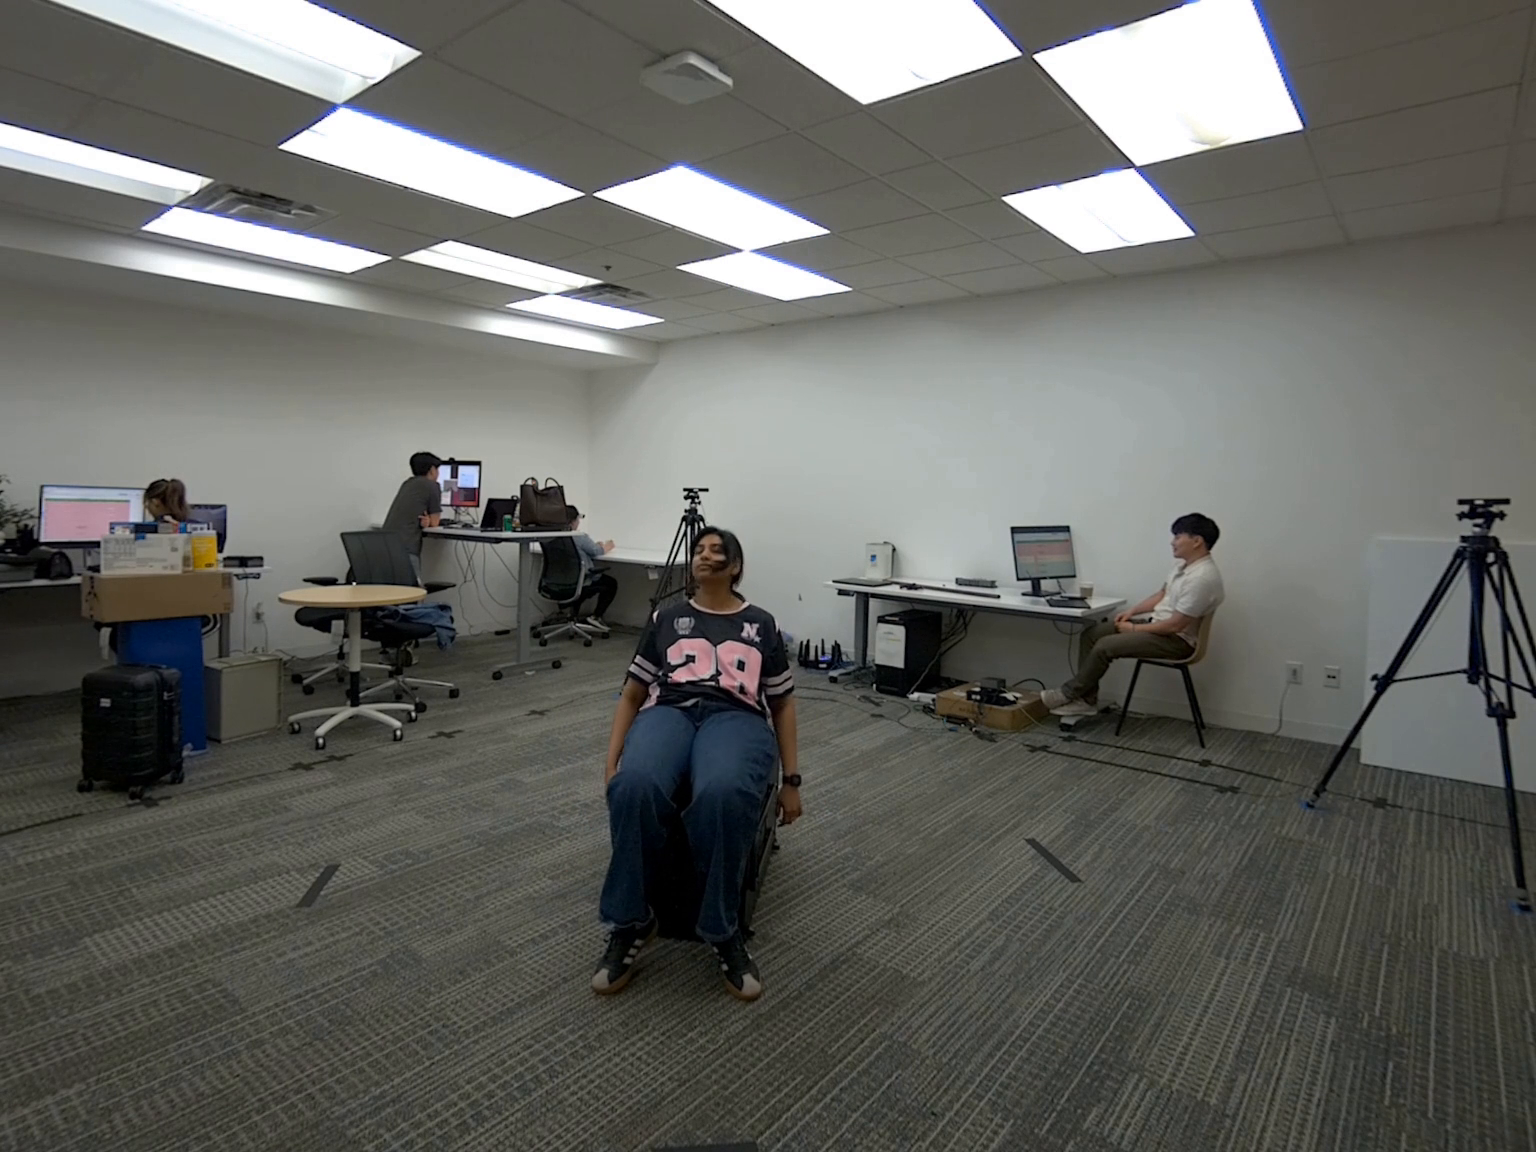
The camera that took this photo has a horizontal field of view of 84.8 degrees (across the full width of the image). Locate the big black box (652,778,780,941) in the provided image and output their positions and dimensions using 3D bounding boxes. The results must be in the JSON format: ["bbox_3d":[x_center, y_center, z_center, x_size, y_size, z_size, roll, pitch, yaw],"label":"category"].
[{"bbox_3d":[-0.184,0.821,3.010,0.389,0.521,0.862,1,5,8],"label":"big black box"}]
